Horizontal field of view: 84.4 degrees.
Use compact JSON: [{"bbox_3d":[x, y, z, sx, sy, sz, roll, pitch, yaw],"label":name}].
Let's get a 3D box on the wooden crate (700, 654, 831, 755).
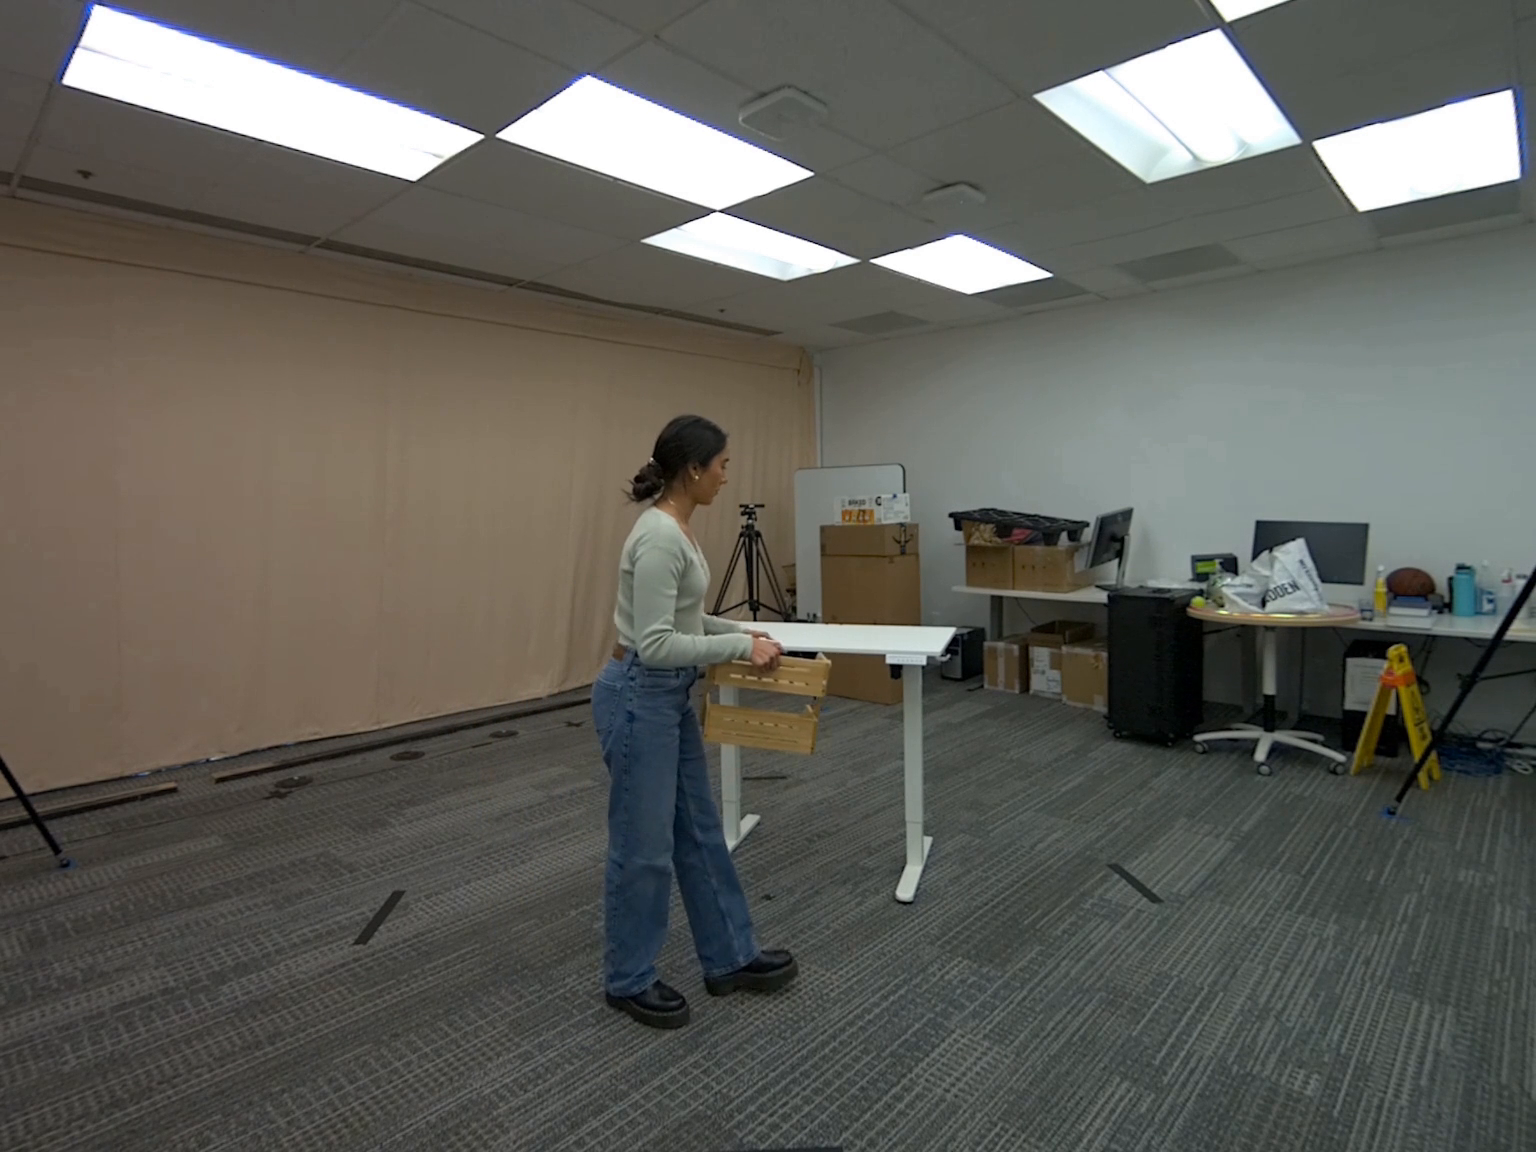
[{"bbox_3d":[-0.011,0.317,2.358,0.324,0.273,0.303,6,2,-2],"label":"wooden crate"}]
